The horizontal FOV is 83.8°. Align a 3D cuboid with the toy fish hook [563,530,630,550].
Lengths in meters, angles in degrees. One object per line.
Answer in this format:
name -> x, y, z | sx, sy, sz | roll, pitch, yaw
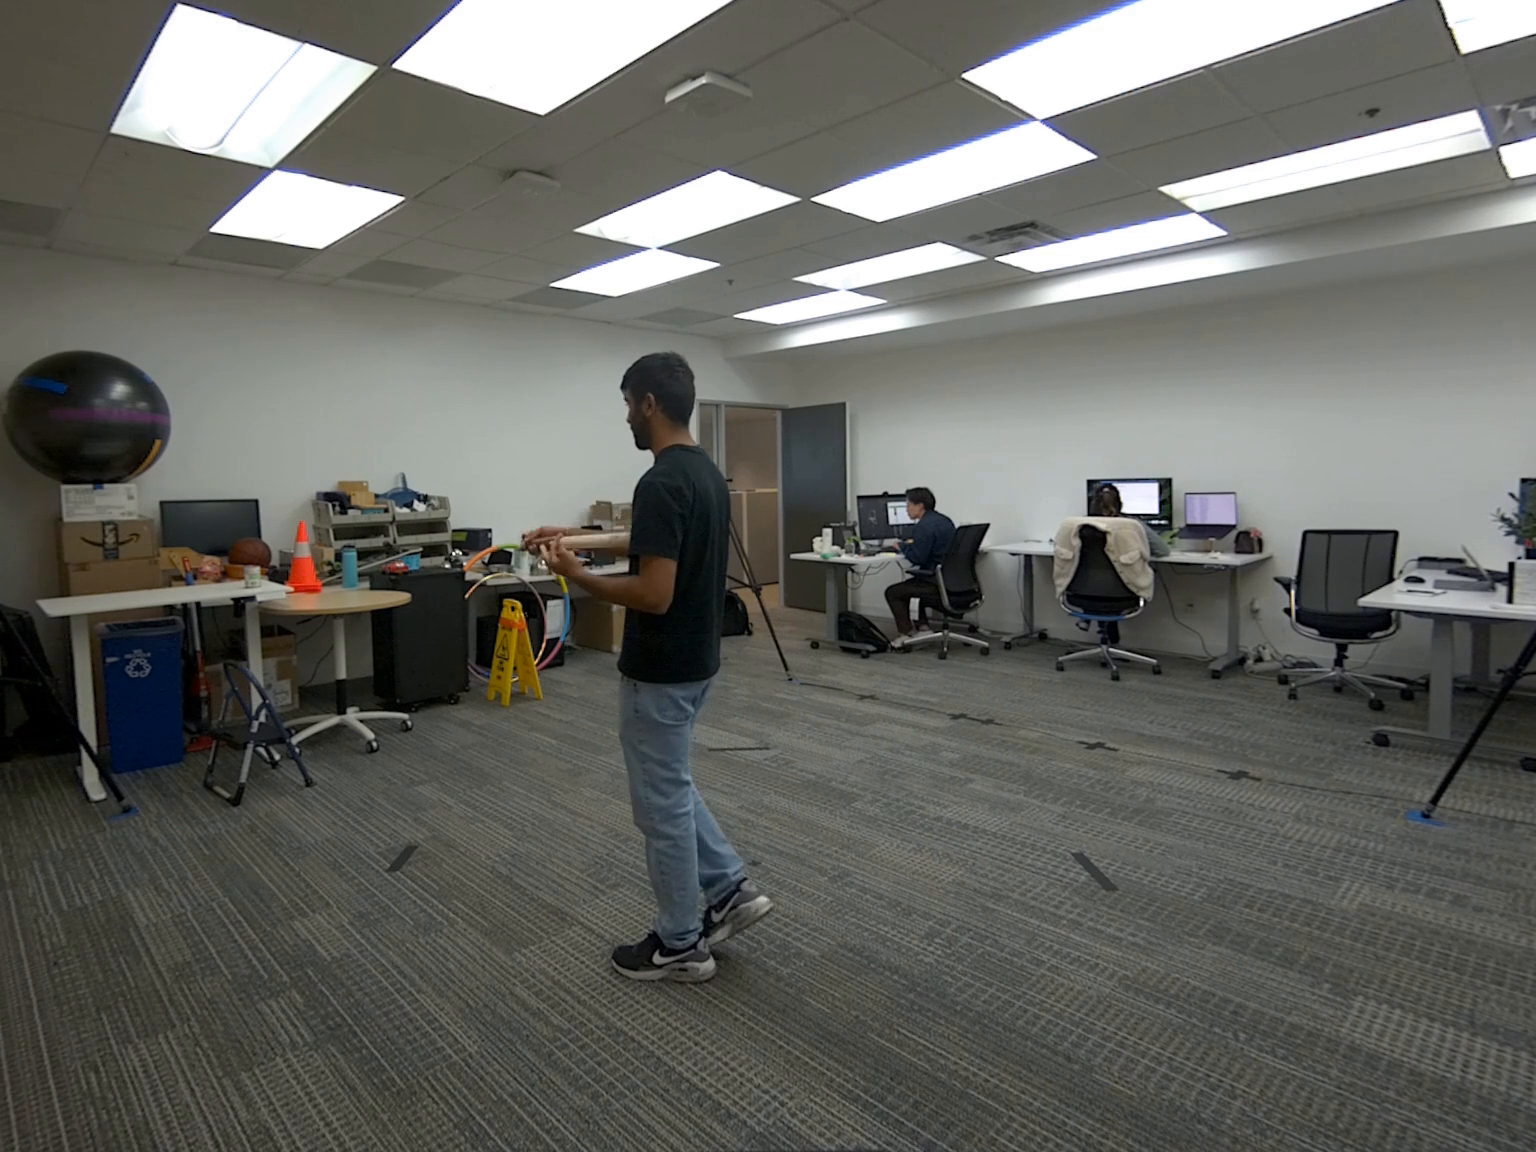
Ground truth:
toy fish hook -> -0.603, -0.093, 2.501 | 0.520, 0.048, 0.218 | -3, 0, 40
